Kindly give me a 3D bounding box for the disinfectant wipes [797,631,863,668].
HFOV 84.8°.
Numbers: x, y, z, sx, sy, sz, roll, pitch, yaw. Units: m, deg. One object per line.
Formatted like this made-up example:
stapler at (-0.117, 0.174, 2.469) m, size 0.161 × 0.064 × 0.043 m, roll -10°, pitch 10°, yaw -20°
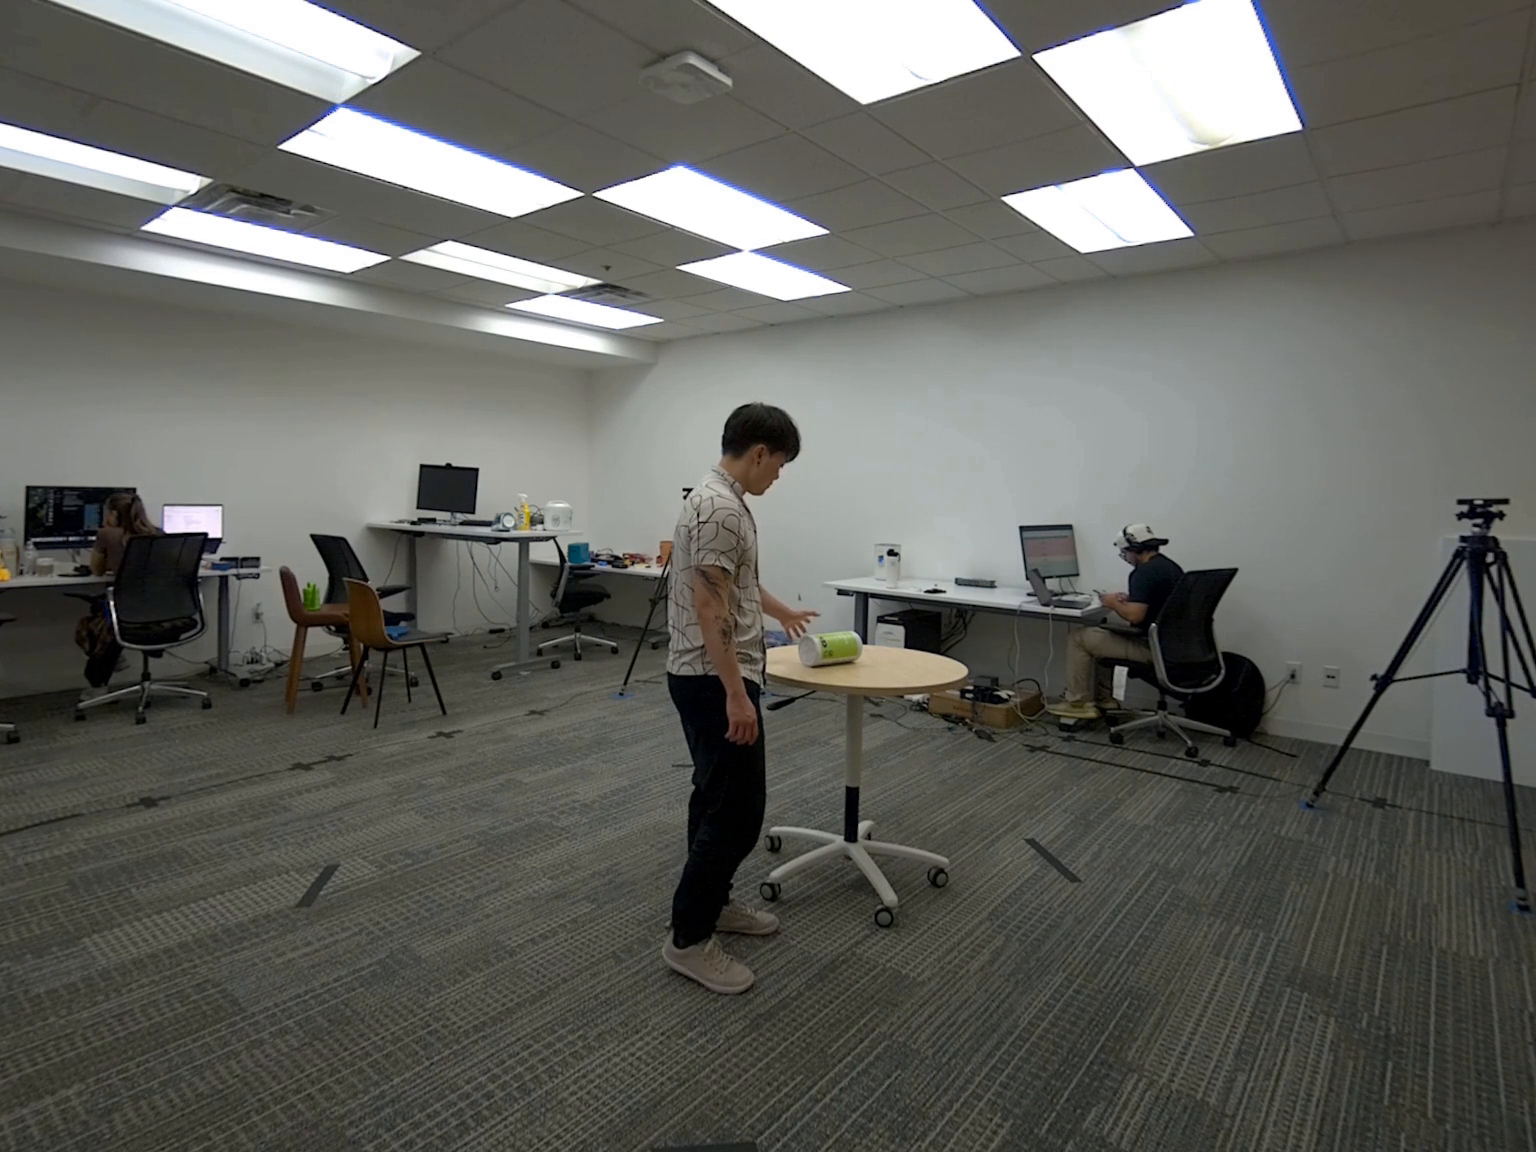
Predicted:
disinfectant wipes at (0.207, 0.250, 2.992) m, size 0.211 × 0.117 × 0.121 m, roll -1°, pitch 4°, yaw -33°
